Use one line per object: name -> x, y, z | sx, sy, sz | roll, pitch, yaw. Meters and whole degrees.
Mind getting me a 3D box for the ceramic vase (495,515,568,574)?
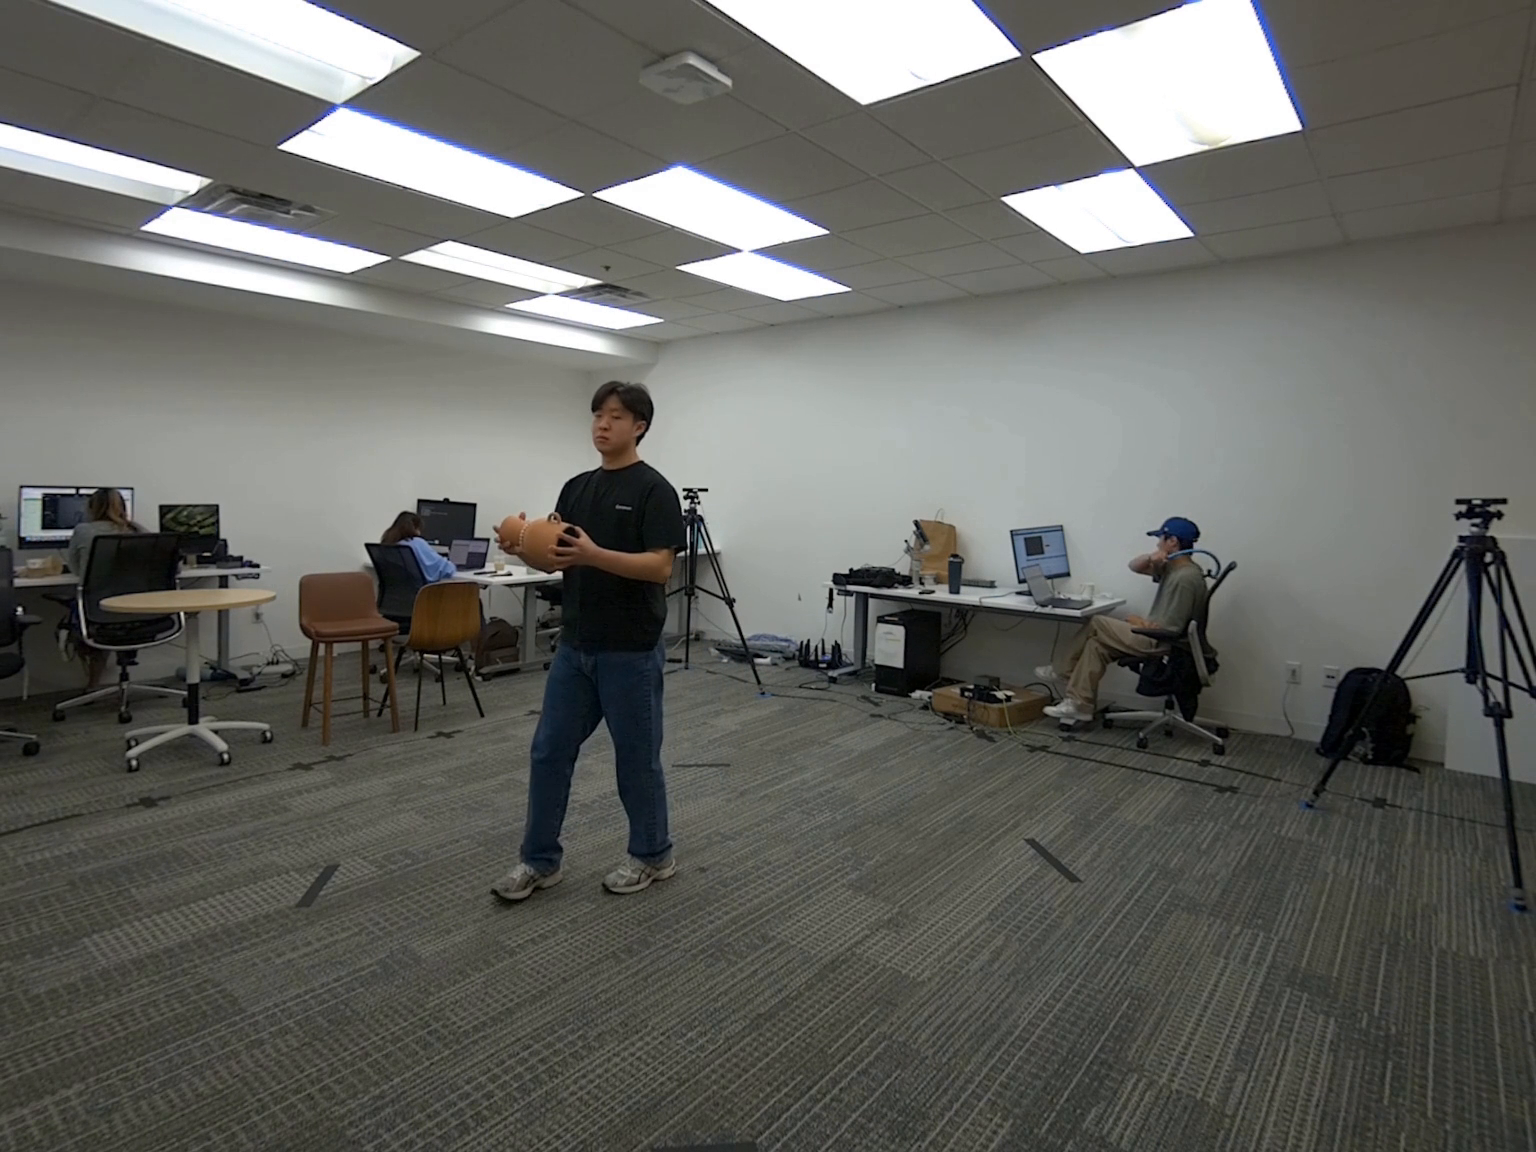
ceramic vase -> -0.733, -0.129, 2.670 | 0.225, 0.160, 0.130 | 14, -15, 19
